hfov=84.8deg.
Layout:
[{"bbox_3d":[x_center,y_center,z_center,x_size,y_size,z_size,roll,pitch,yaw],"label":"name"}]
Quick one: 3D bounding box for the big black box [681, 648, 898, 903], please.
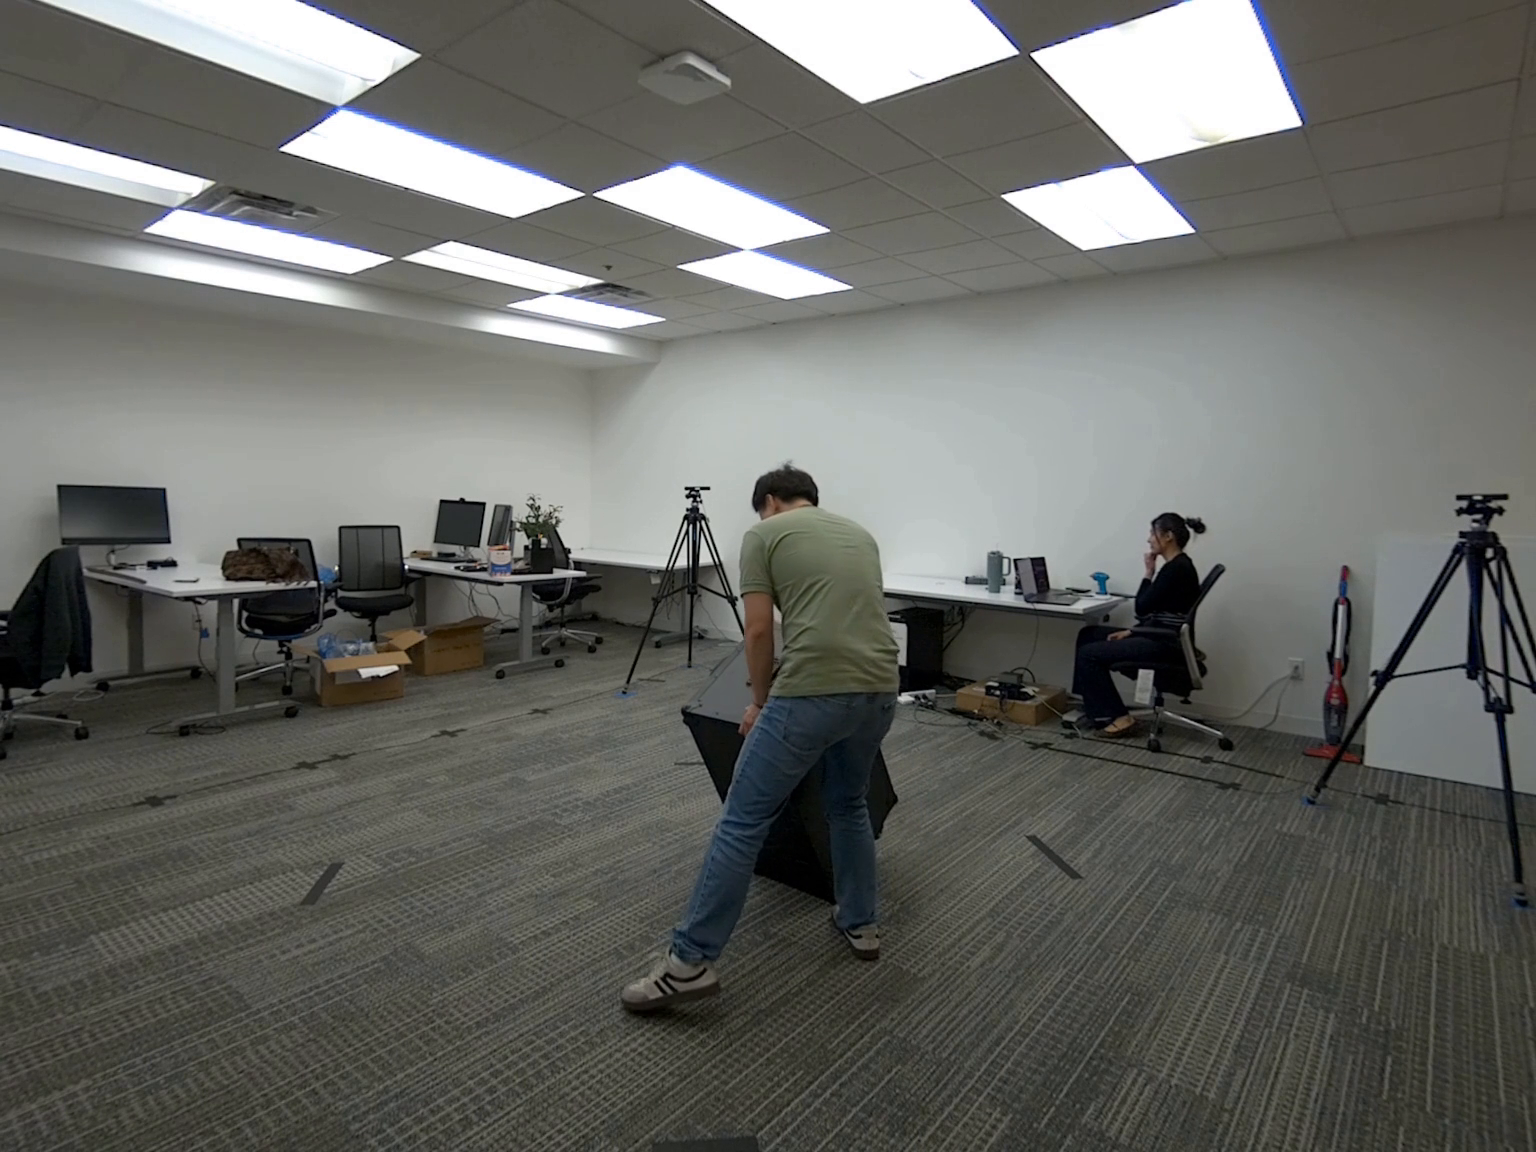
[{"bbox_3d":[0.085,0.657,2.967,0.409,0.836,0.520,3,35,40],"label":"big black box"}]
